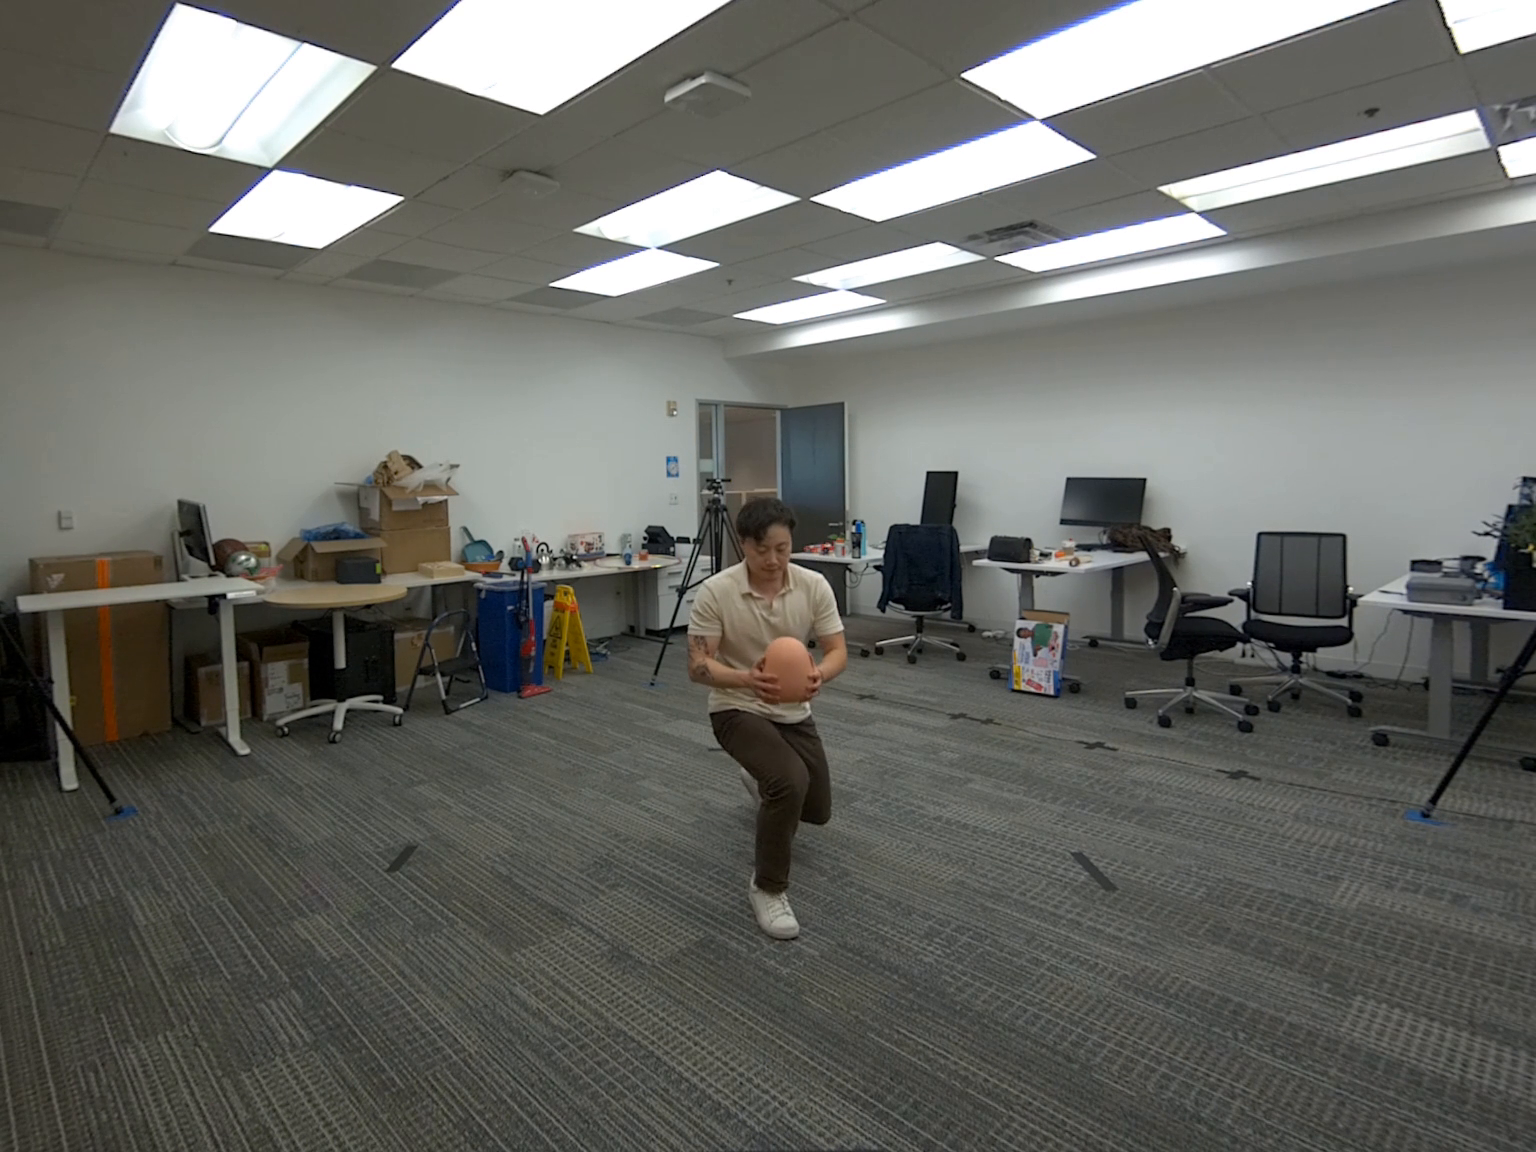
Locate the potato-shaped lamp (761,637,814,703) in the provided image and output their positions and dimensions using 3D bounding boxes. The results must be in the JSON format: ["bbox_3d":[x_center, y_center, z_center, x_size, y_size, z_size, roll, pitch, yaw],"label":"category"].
[{"bbox_3d":[0.062,0.287,2.663,0.165,0.197,0.172,-7,6,-1],"label":"potato-shaped lamp"}]
